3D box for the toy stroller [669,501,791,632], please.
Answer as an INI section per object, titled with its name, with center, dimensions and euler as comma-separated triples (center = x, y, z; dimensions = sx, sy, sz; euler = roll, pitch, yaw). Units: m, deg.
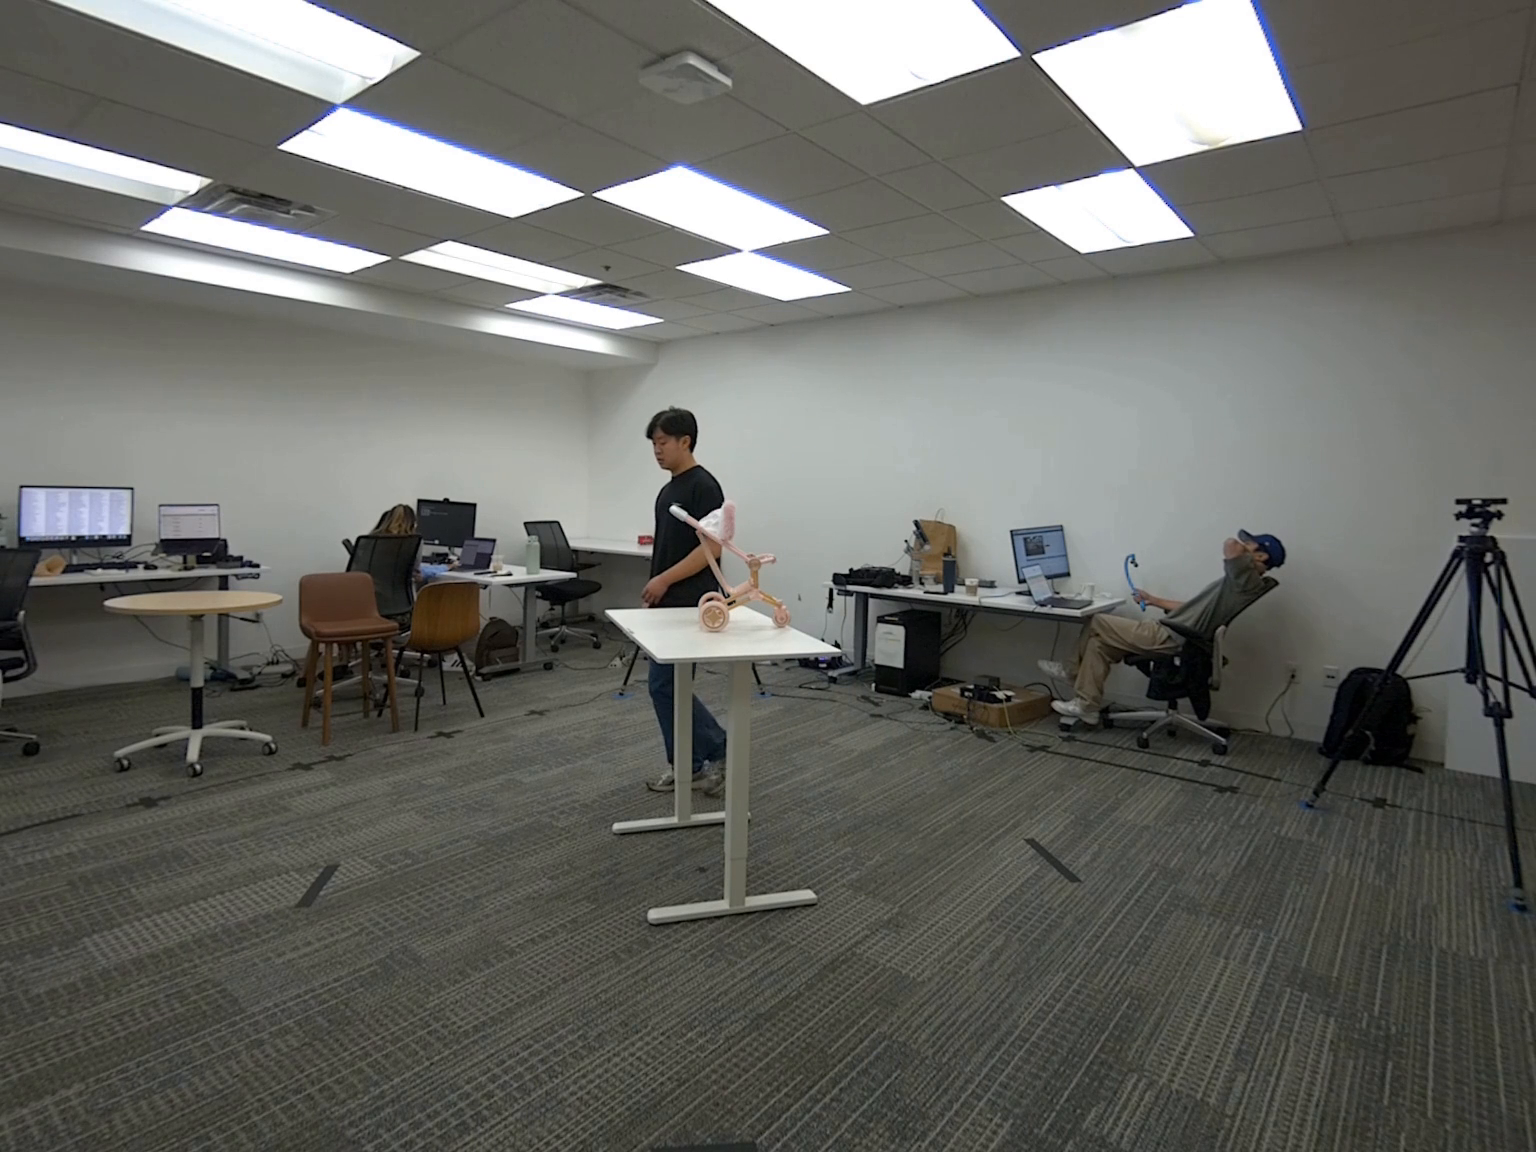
[toy stroller]
center = -0.140, -0.039, 3.124
dimensions = 0.342, 0.533, 0.281
euler = -14, 3, 3
